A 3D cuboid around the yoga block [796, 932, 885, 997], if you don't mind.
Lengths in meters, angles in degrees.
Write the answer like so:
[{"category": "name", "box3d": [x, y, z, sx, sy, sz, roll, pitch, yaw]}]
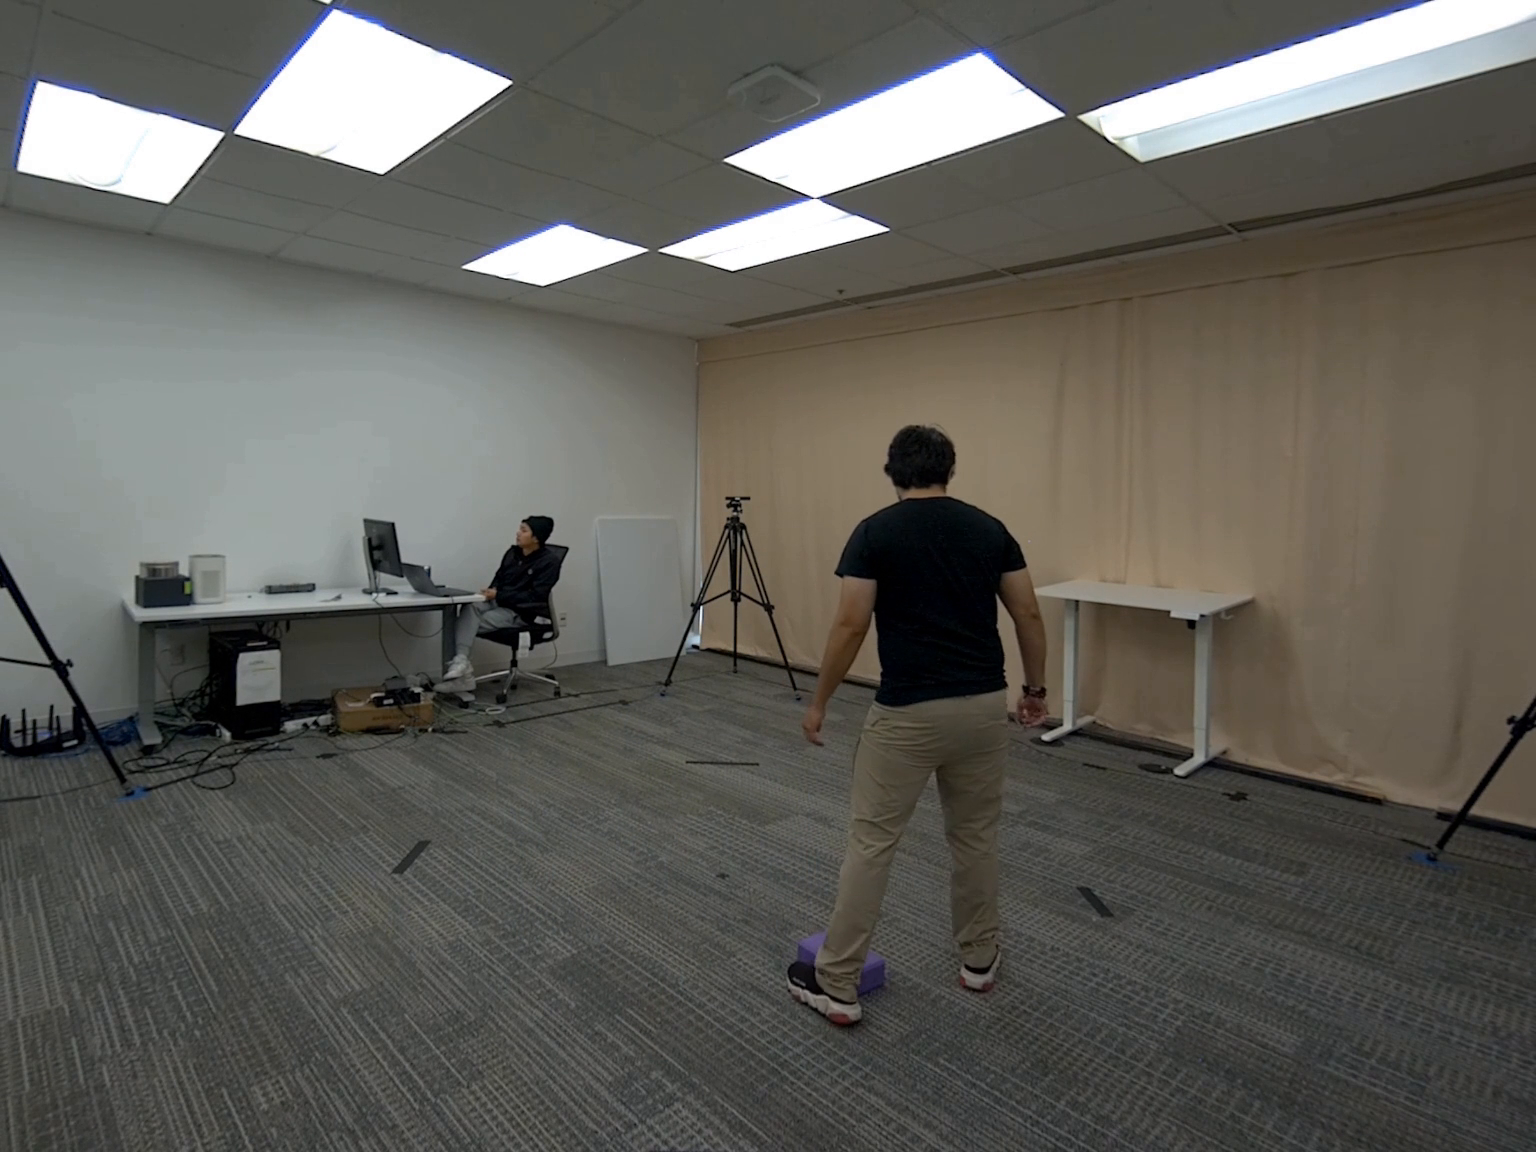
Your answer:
[{"category": "yoga block", "box3d": [0.211, 1.134, 2.479, 0.146, 0.076, 0.235, -4, 6, -39]}]
